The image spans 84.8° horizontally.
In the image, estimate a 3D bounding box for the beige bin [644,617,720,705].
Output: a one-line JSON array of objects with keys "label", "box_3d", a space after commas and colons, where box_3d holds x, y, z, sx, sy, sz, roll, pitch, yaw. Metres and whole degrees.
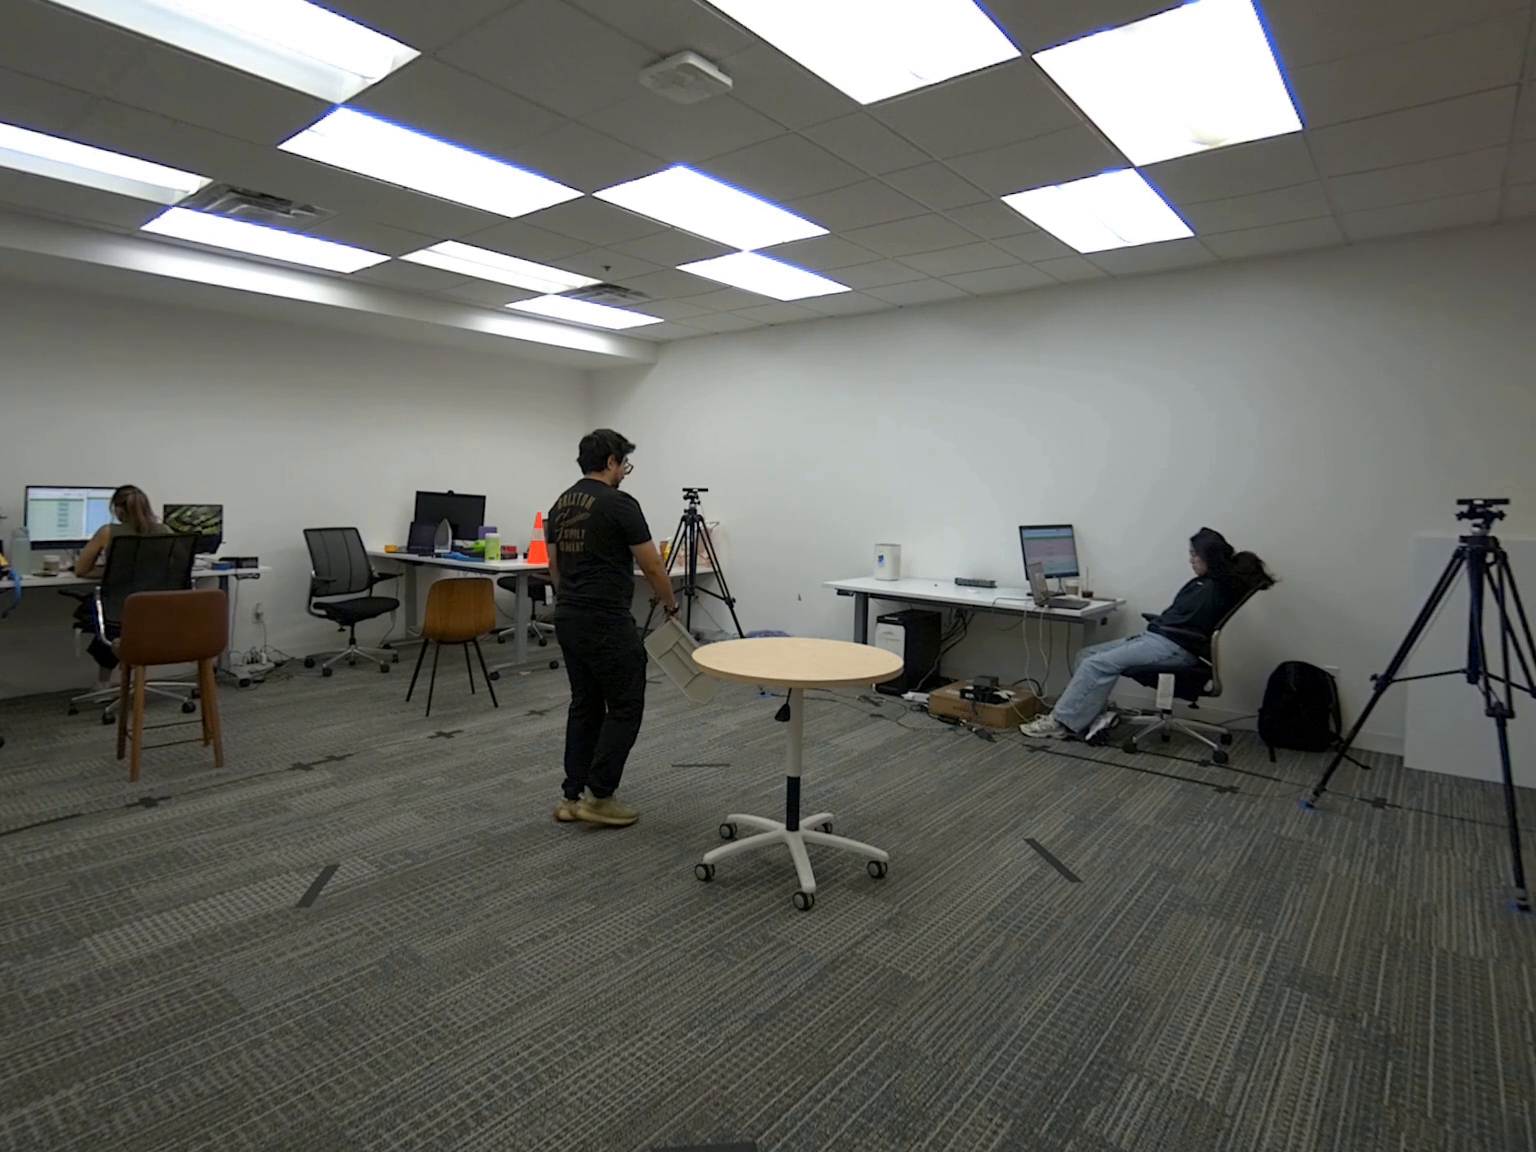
[{"label": "beige bin", "box_3d": [-0.367, 0.369, 3.792, 0.189, 0.378, 0.422, -43, 0, 1]}]
